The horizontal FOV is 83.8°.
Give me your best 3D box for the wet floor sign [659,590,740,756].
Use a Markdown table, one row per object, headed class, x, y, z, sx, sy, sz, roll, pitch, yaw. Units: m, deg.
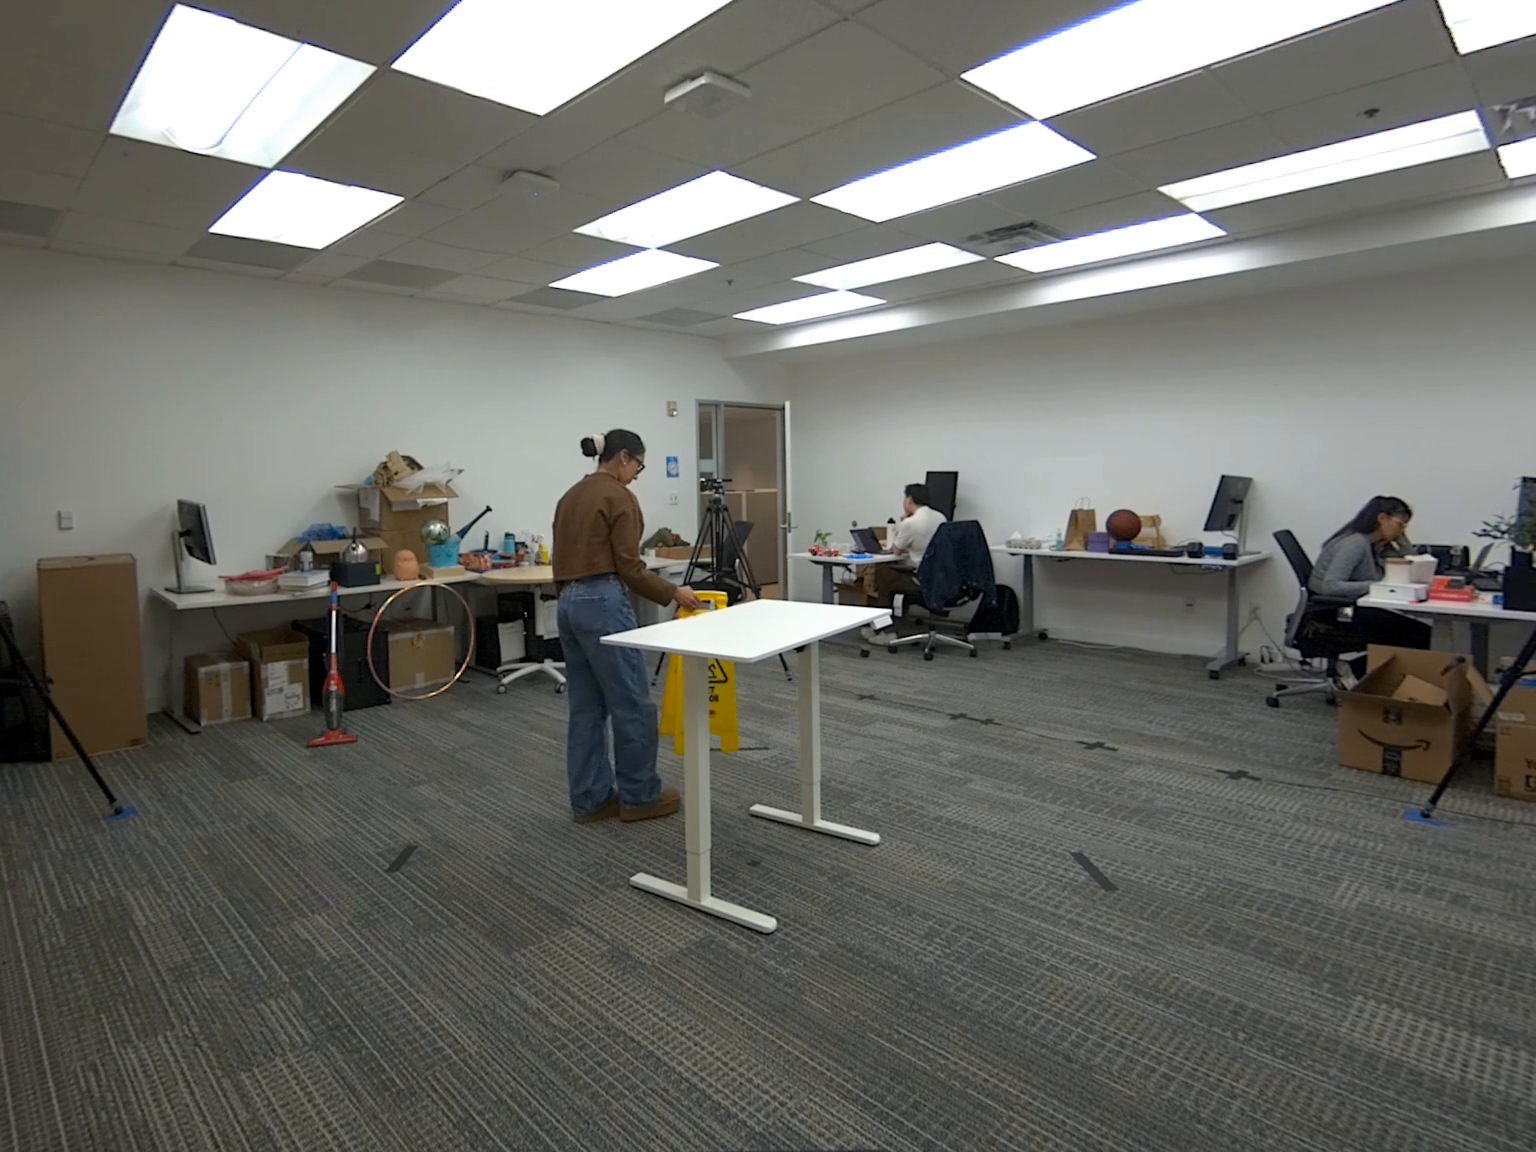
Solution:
| class | x | y | z | sx | sy | sz | roll | pitch | yaw |
| --- | --- | --- | --- | --- | --- | --- | --- | --- | --- |
| wet floor sign | -0.280 | 0.393 | 3.603 | 0.277 | 0.643 | 0.296 | 1 | 5 | -20 |
